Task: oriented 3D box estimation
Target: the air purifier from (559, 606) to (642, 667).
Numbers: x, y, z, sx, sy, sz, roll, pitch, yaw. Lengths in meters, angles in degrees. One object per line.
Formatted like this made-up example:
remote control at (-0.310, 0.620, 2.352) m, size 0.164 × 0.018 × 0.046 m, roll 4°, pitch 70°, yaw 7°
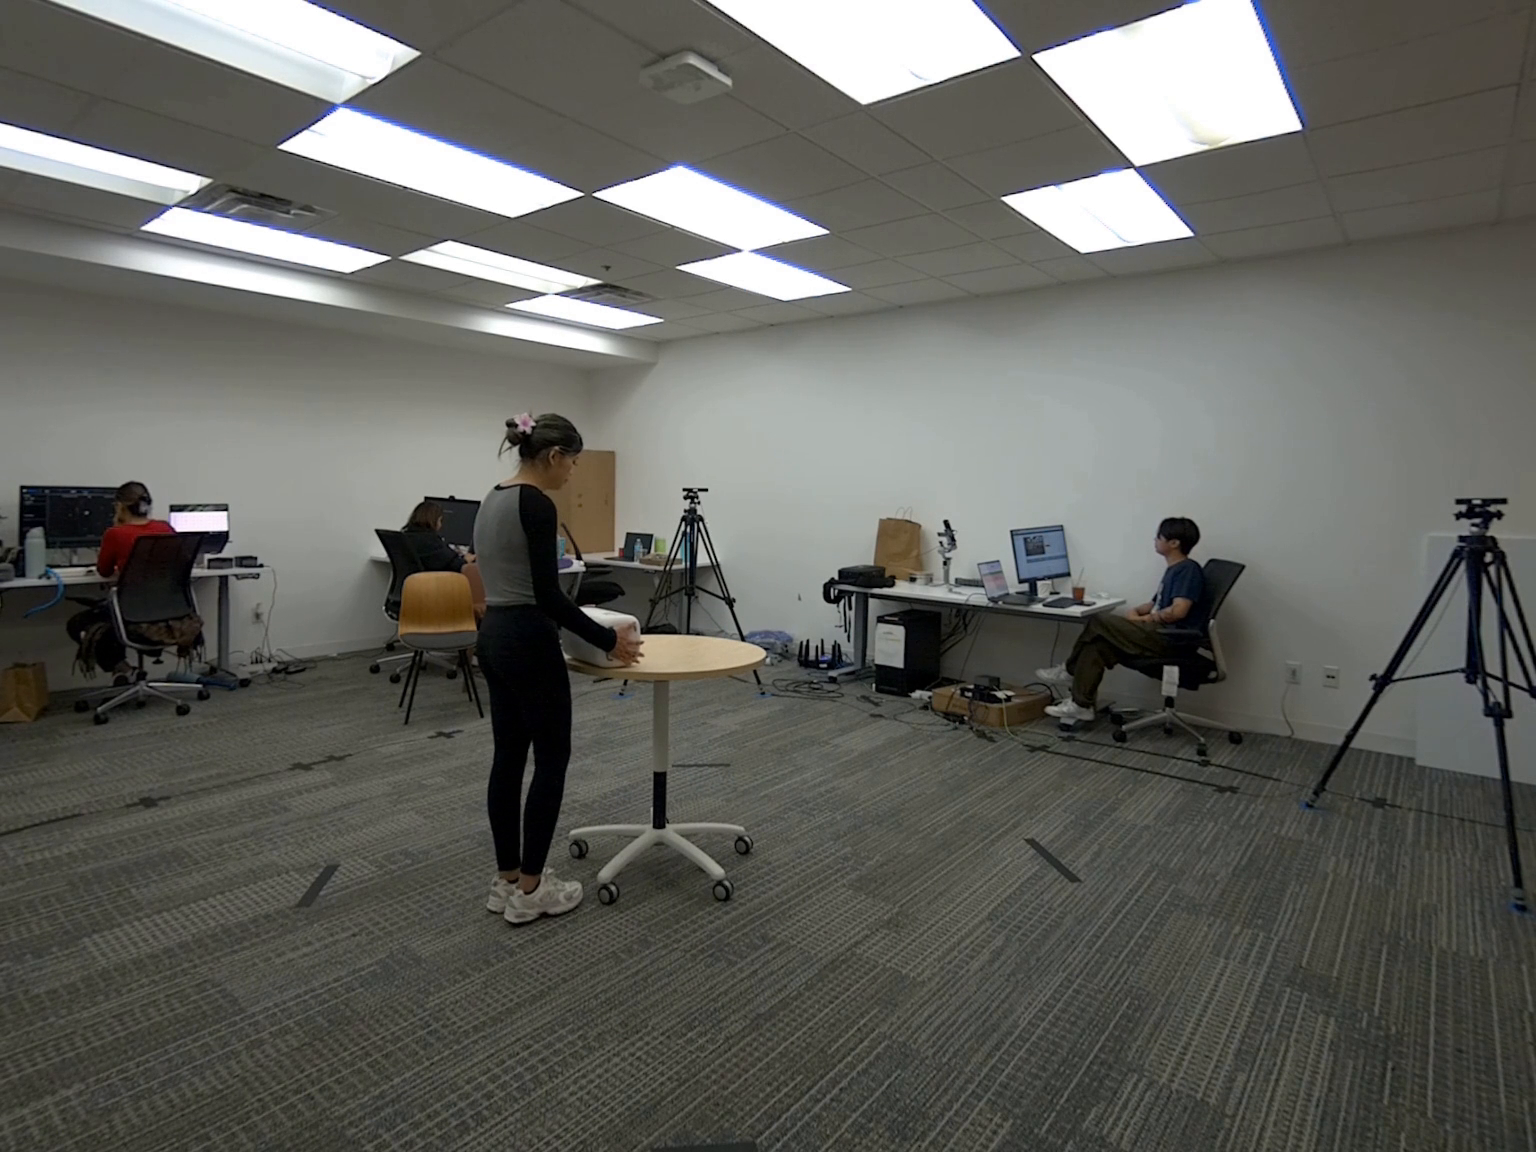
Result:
air purifier at (-0.574, 0.206, 2.879) m, size 0.166 × 0.171 × 0.274 m, roll -2°, pitch 6°, yaw -39°
